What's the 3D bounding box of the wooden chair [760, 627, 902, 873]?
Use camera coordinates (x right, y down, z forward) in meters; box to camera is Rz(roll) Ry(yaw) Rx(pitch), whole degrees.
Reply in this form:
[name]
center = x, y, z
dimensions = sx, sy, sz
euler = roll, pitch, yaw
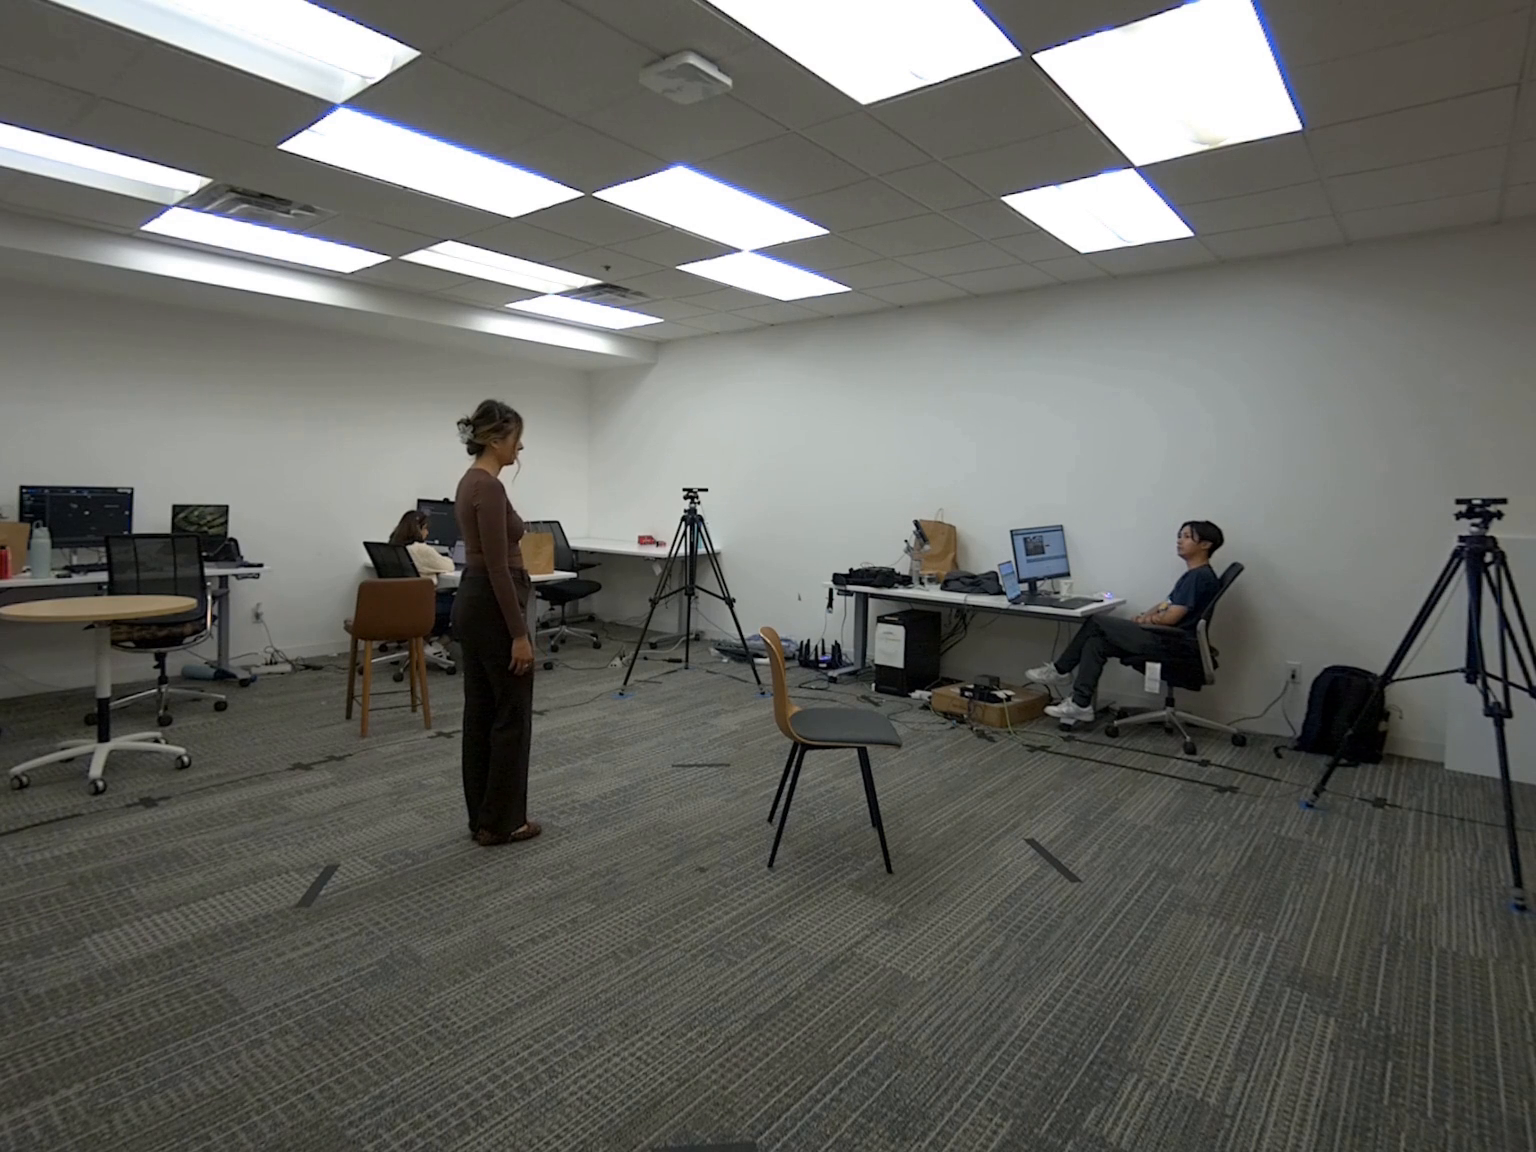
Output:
[wooden chair]
center = 0.236, 0.630, 3.307
dimensions = 0.525, 0.875, 0.478
euler = -3, 3, 2
